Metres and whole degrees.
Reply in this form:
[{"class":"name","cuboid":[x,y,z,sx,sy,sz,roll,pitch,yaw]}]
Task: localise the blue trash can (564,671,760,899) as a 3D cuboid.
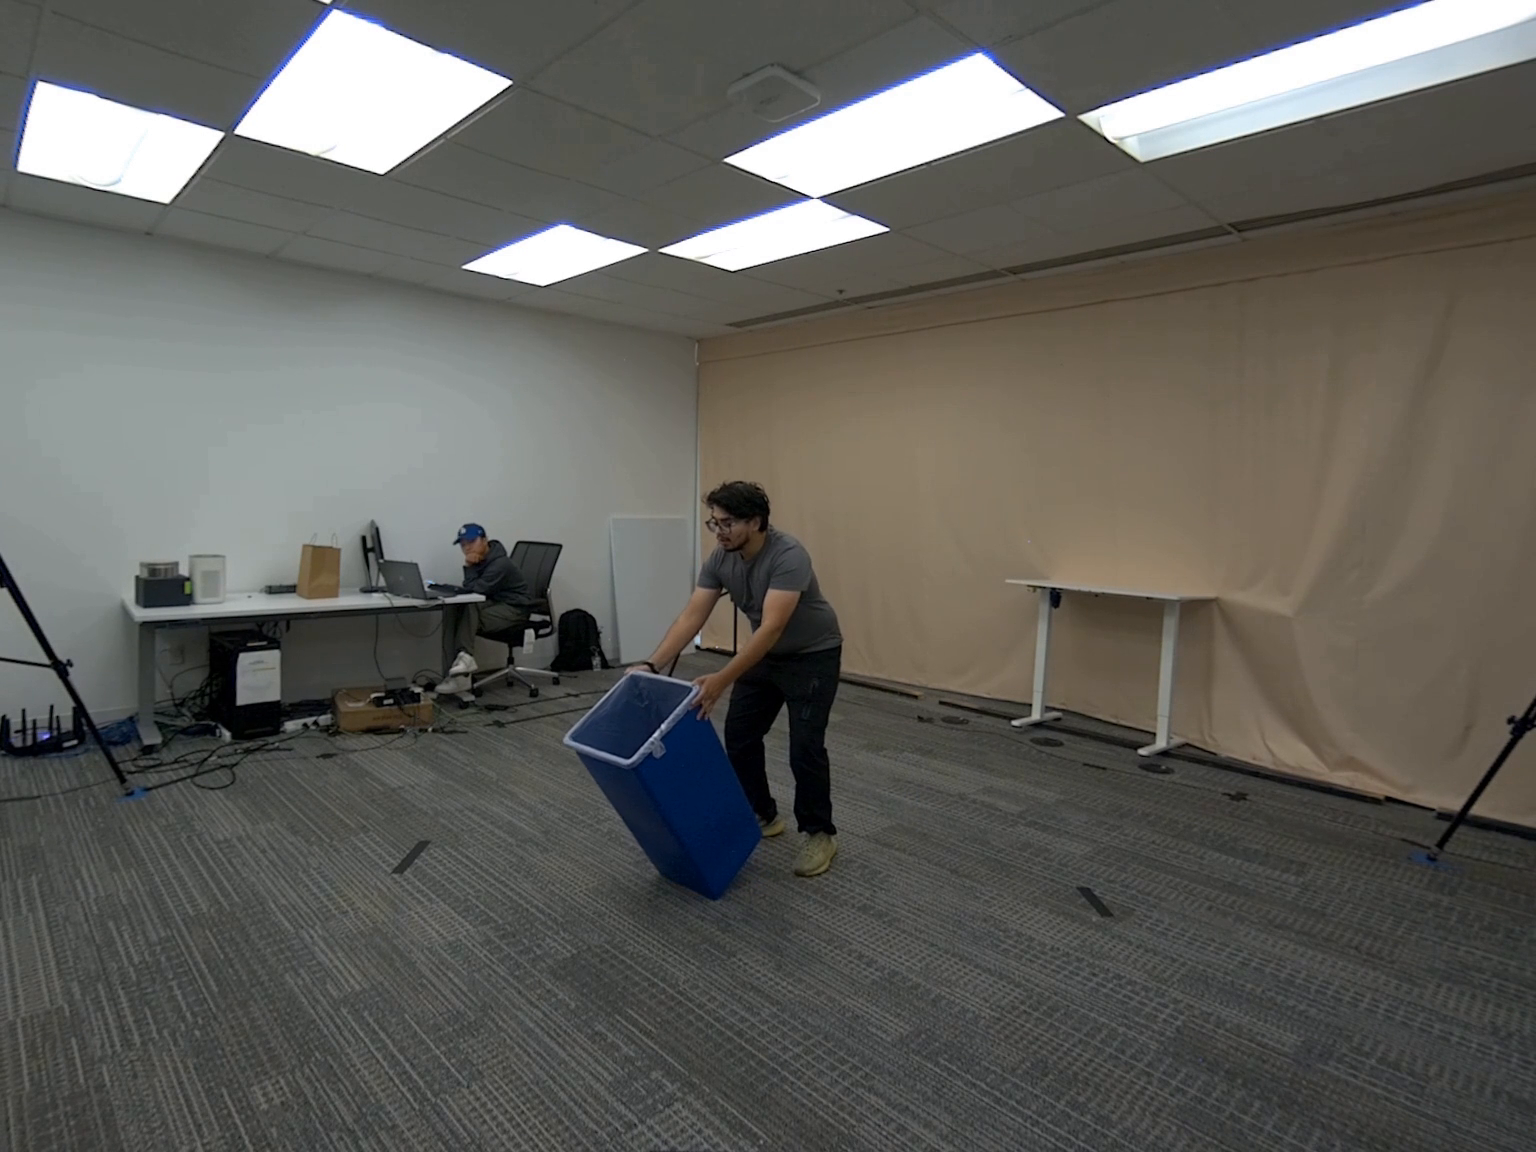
[{"class":"blue trash can","cuboid":[-0.346,0.741,2.938,0.383,0.697,0.377,4,38,42]}]
